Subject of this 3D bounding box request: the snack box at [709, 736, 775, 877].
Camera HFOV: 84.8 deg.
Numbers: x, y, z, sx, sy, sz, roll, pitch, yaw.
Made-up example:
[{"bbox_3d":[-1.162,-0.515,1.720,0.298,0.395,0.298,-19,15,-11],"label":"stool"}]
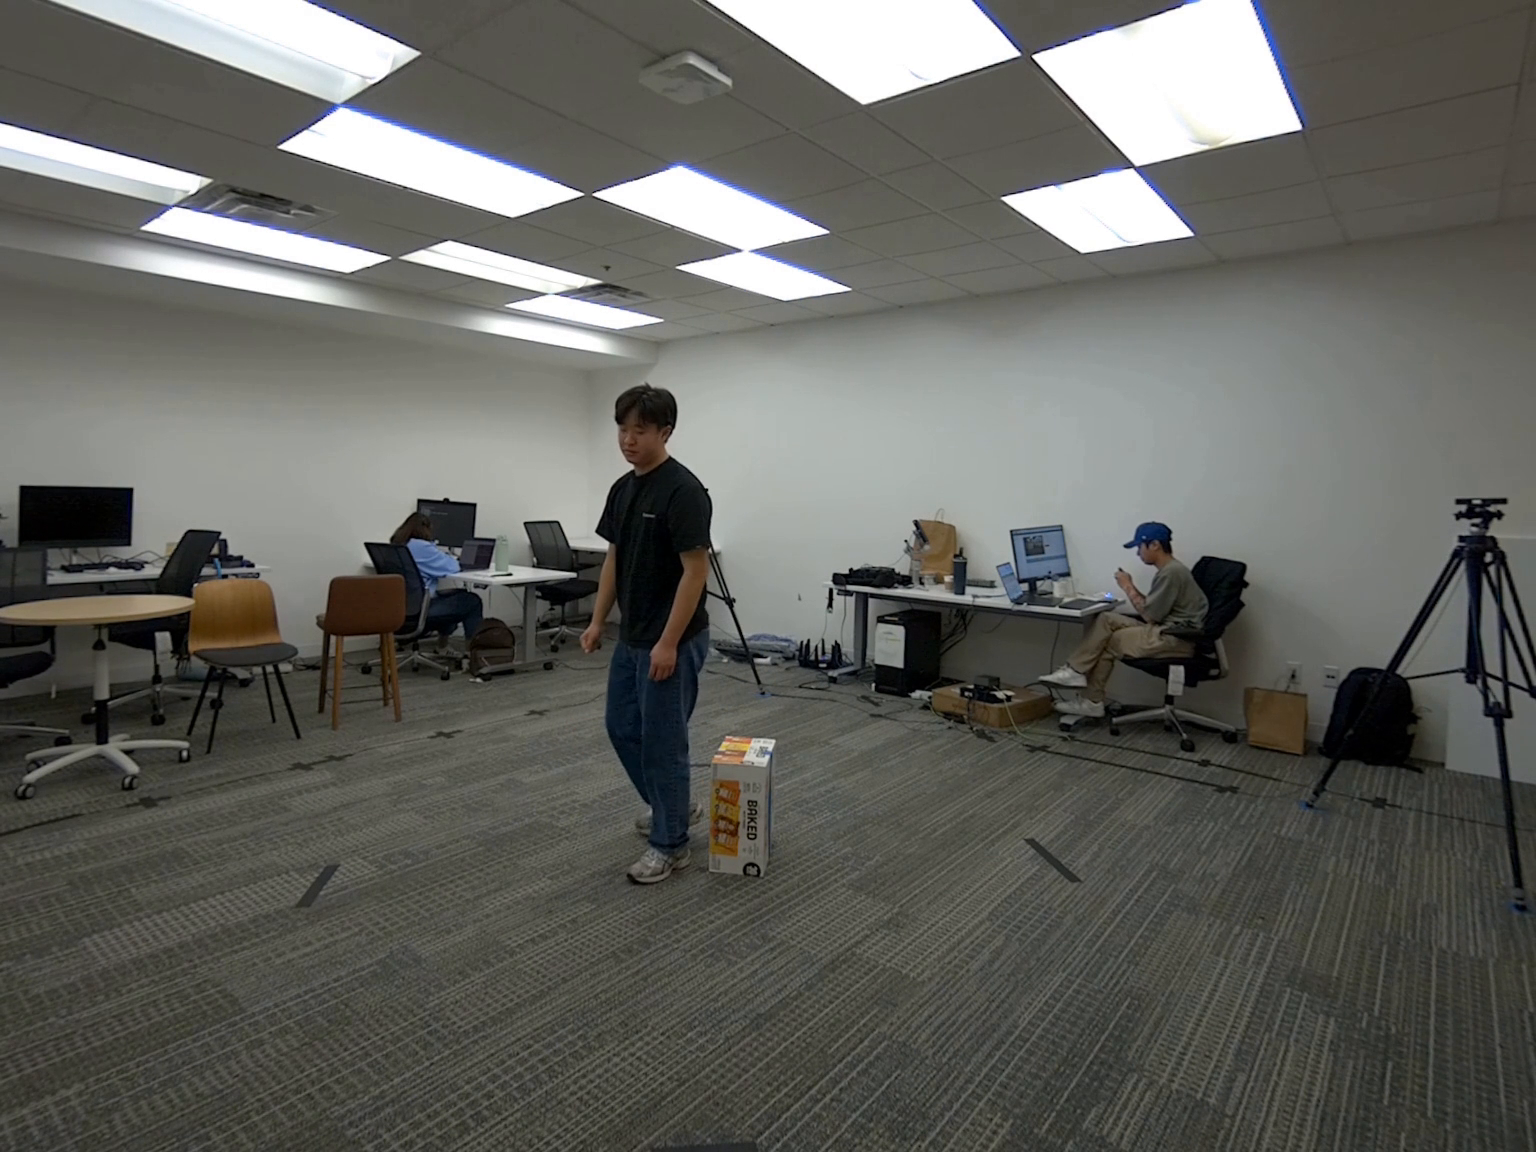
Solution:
[{"bbox_3d":[-0.102,0.860,3.224,0.208,0.404,0.338,2,4,8],"label":"snack box"}]
